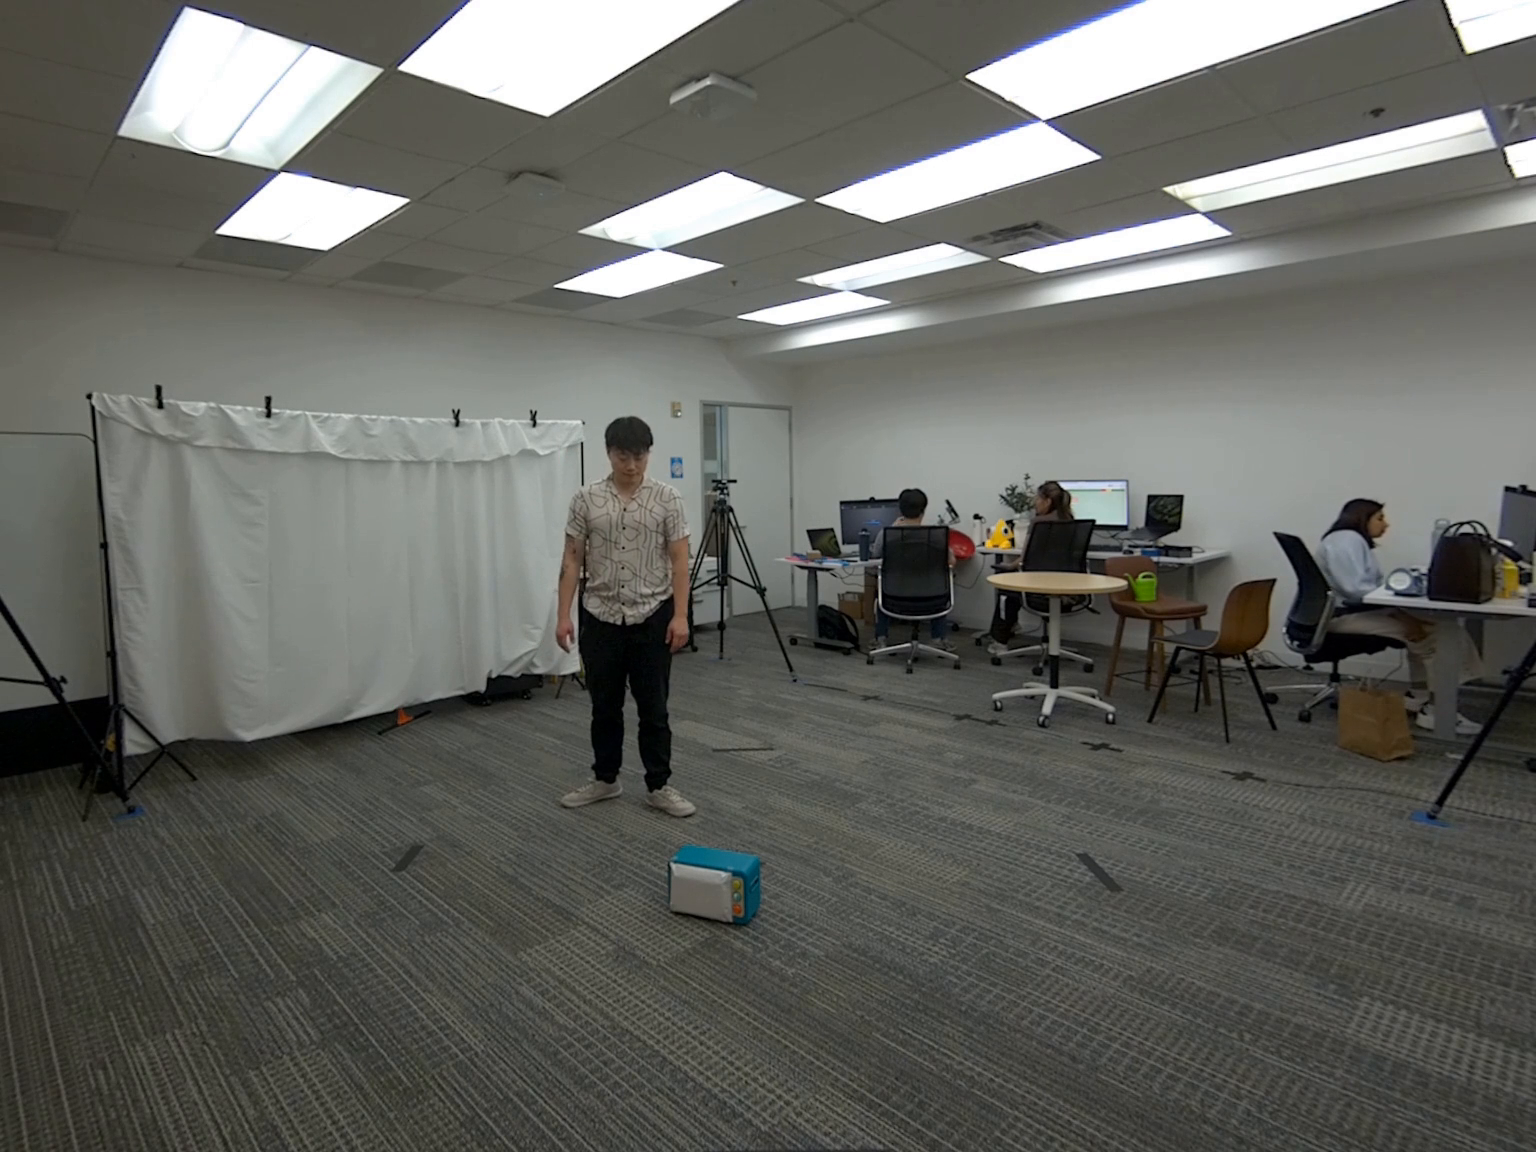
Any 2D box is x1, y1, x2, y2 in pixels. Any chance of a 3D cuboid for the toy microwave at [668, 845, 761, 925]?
[{"bbox_3d":[-0.173,0.999,2.758,0.292,0.183,0.150,1,5,22],"label":"toy microwave"}]
